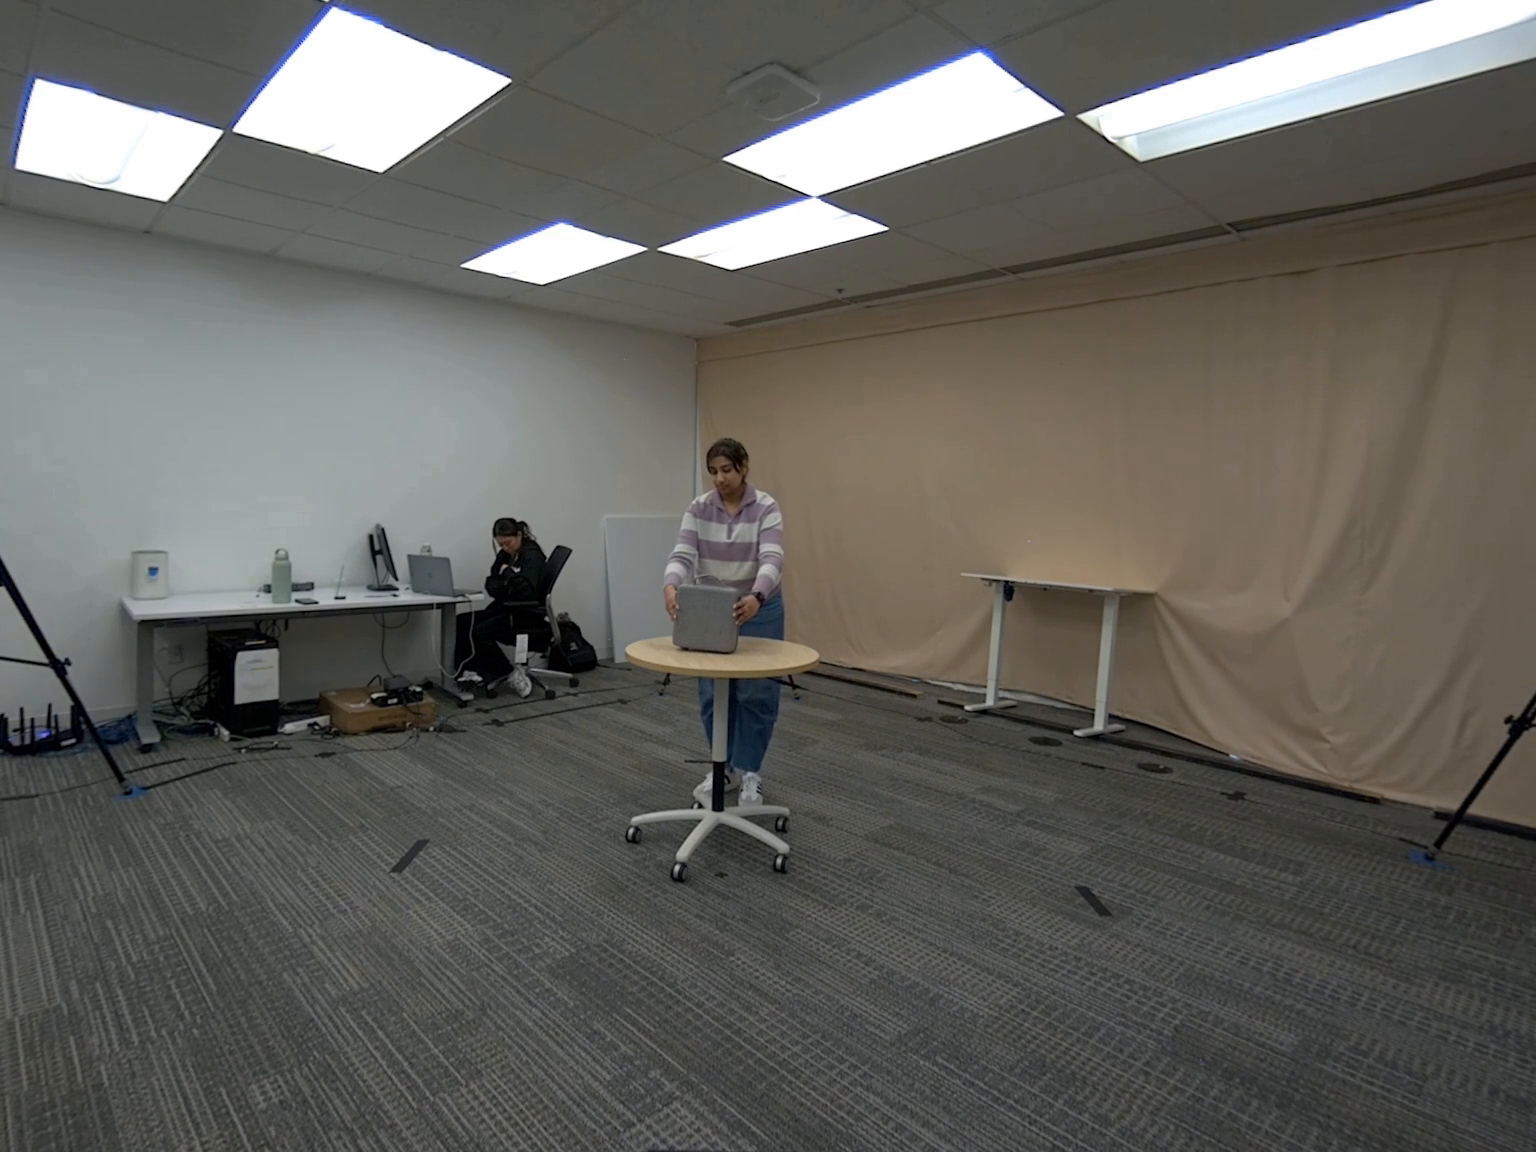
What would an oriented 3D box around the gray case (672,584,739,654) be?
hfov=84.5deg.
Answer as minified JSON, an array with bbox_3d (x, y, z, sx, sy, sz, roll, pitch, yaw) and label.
[{"bbox_3d":[-0.247,0.164,3.315,0.260,0.260,0.103,5,4,12],"label":"gray case"}]
